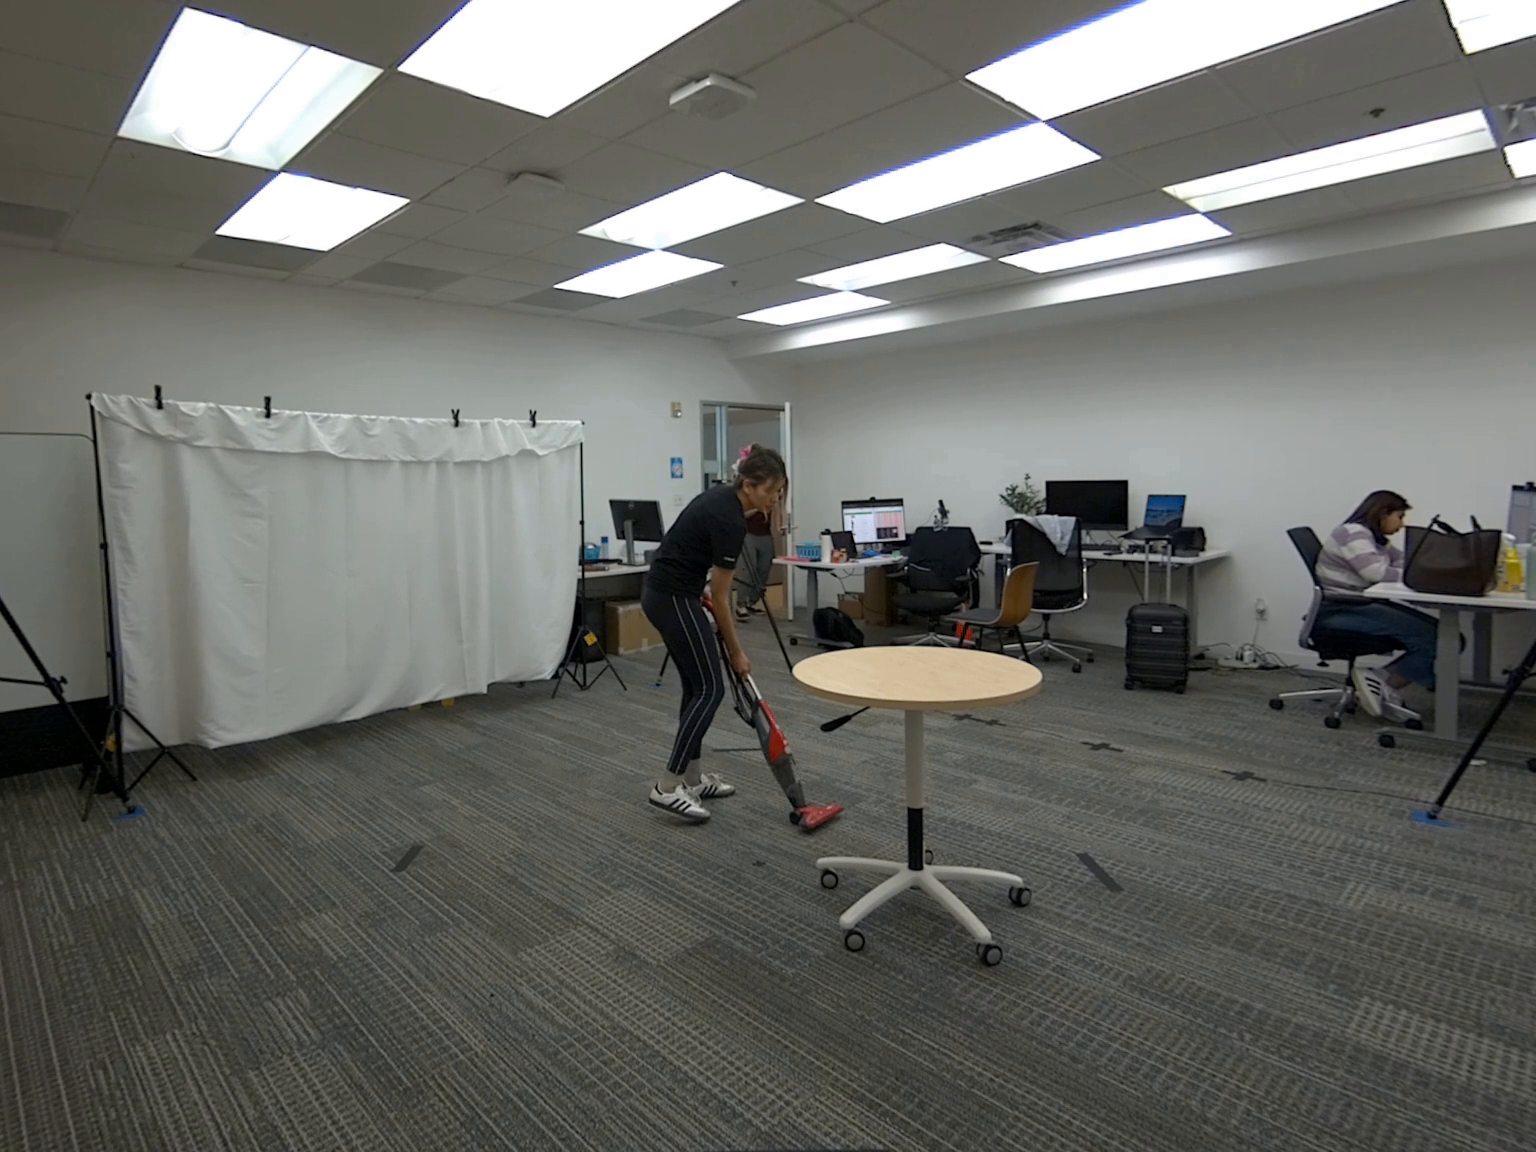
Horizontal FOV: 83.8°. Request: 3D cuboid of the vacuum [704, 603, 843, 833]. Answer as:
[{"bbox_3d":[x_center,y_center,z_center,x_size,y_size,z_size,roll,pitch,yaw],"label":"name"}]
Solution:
[{"bbox_3d":[-0.047,0.550,3.620,0.144,1.073,0.246,-39,-21,30],"label":"vacuum"}]
